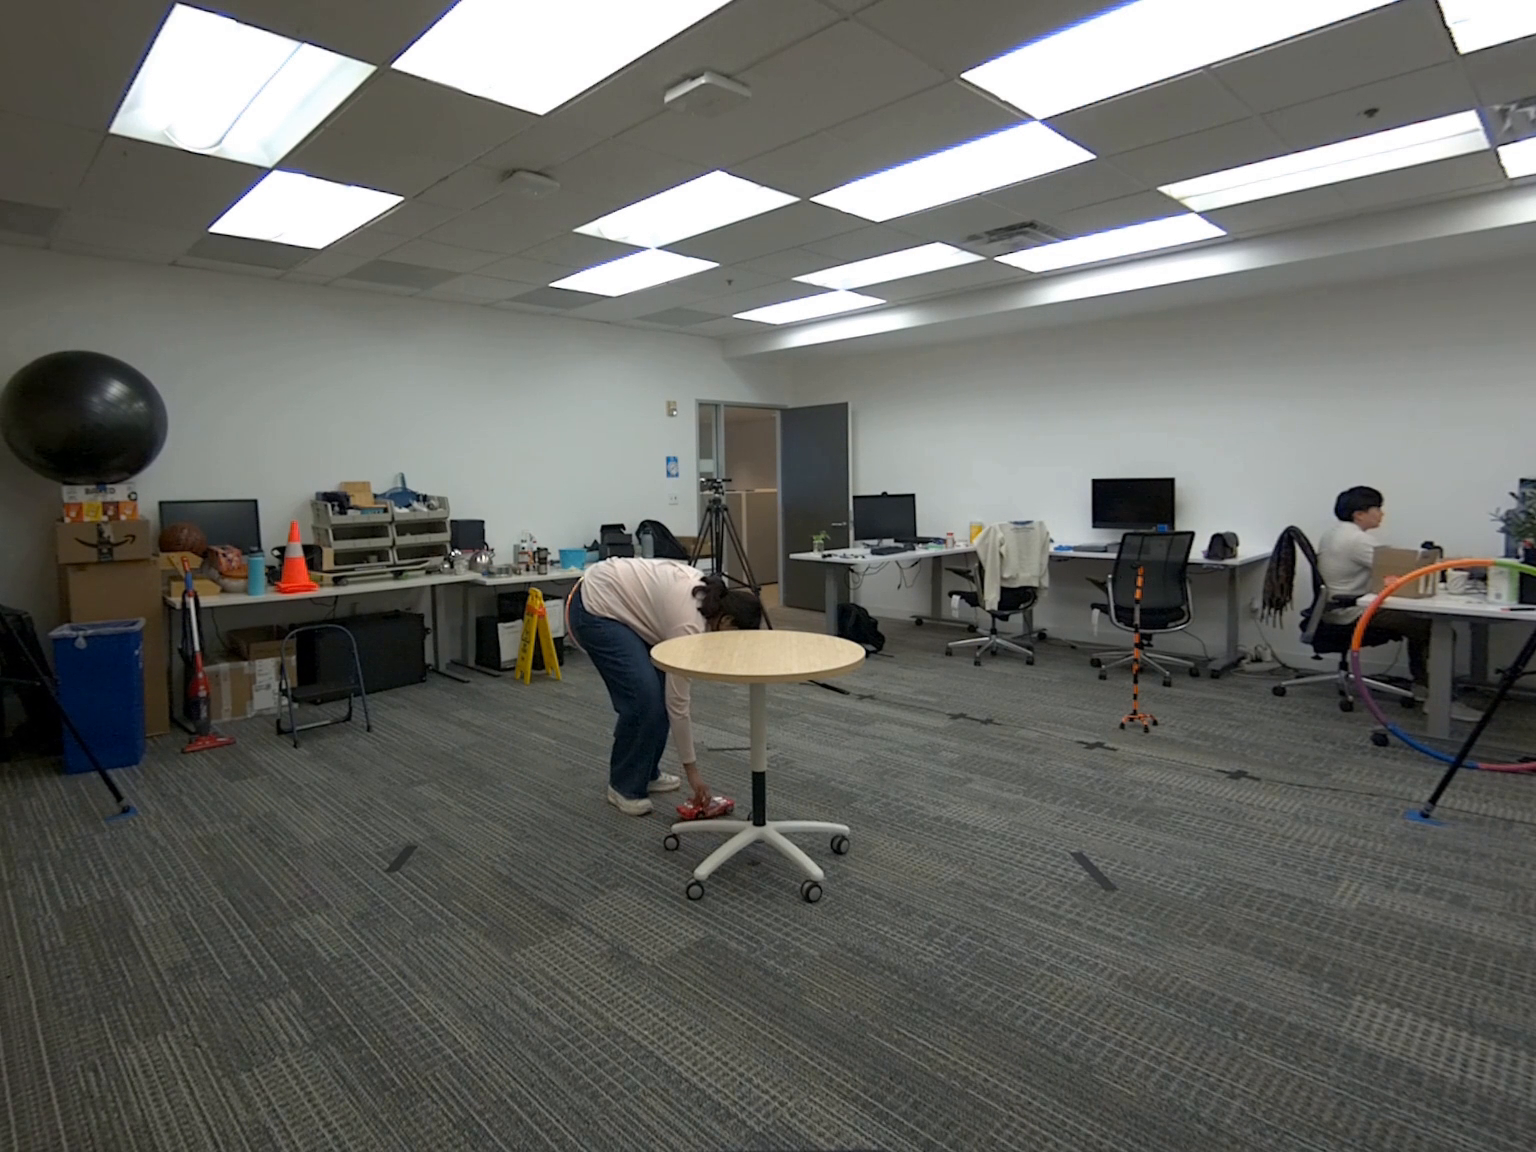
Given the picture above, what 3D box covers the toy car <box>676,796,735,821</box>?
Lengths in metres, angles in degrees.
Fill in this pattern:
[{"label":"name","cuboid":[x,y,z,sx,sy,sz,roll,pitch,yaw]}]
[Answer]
[{"label":"toy car","cuboid":[-0.266,0.966,3.553,0.247,0.083,0.134,8,-1,-33]}]
